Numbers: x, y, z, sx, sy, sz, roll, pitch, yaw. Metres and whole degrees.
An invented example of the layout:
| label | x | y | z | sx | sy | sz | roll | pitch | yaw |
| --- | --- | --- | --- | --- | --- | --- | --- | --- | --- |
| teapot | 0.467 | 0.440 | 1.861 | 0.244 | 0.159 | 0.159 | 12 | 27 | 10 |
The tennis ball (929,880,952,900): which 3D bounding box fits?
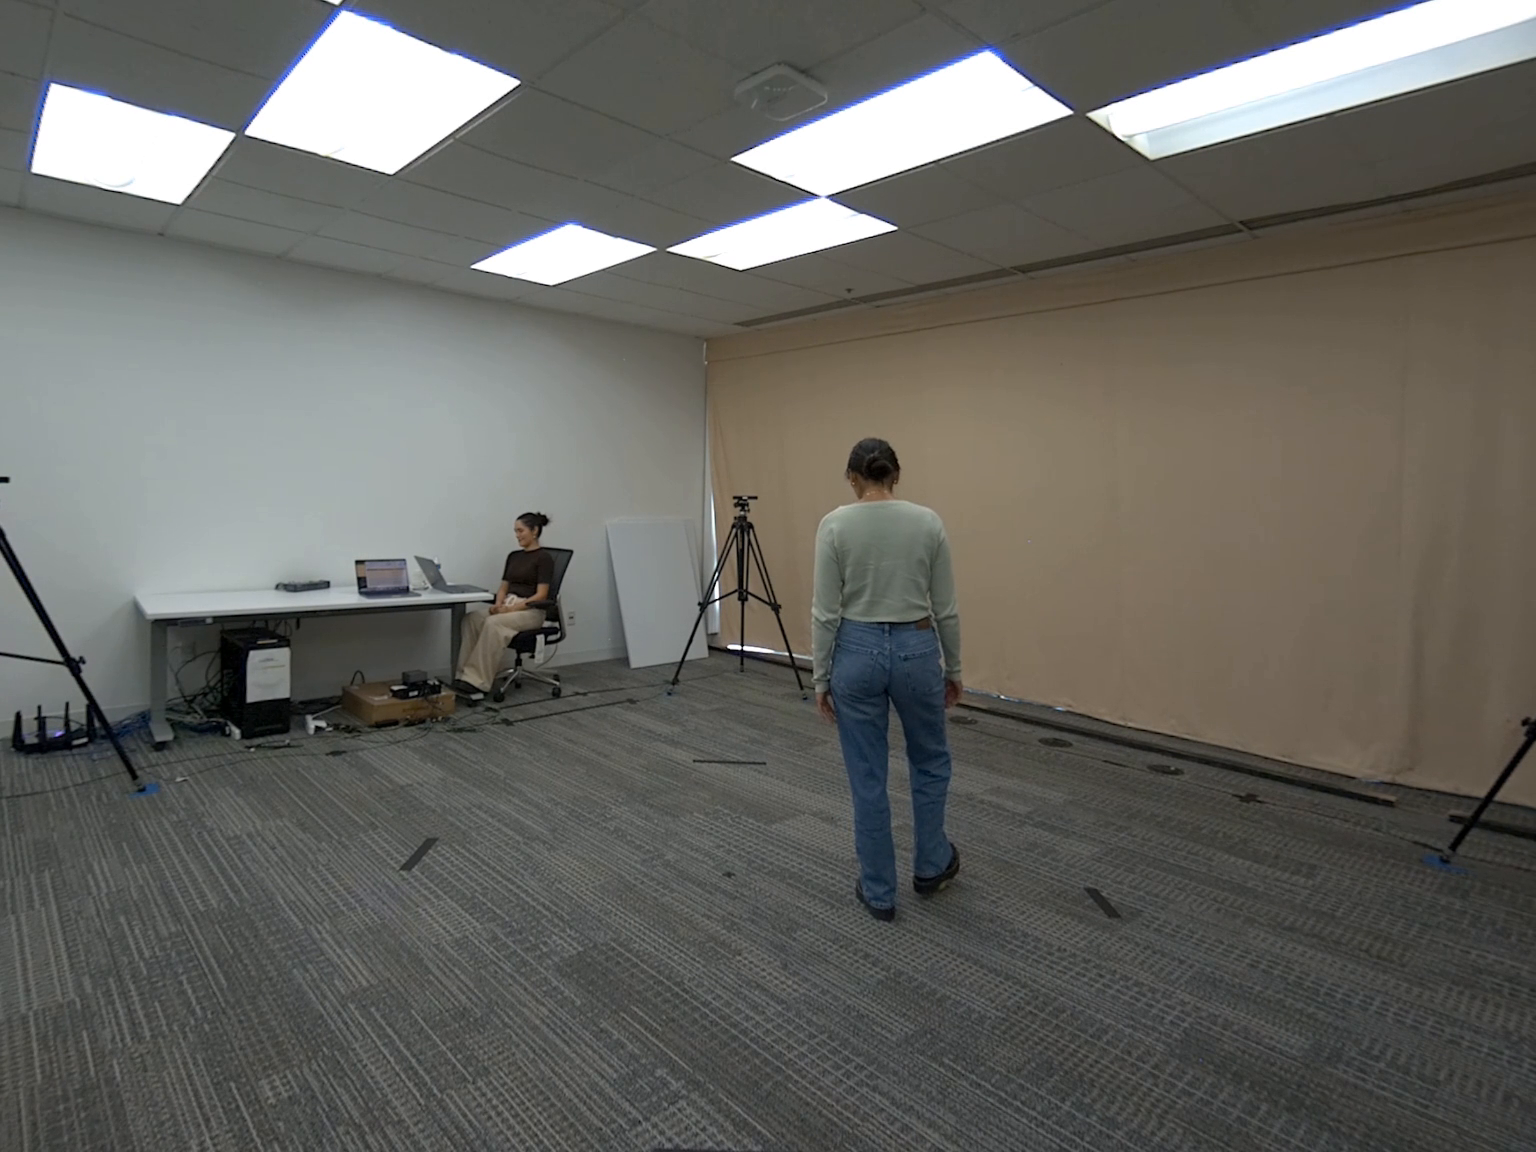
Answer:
| label | x | y | z | sx | sy | sz | roll | pitch | yaw |
| --- | --- | --- | --- | --- | --- | --- | --- | --- | --- |
| tennis ball | 0.612 | 1.108 | 3.034 | 0.066 | 0.066 | 0.067 | 1 | 4 | -1 |
